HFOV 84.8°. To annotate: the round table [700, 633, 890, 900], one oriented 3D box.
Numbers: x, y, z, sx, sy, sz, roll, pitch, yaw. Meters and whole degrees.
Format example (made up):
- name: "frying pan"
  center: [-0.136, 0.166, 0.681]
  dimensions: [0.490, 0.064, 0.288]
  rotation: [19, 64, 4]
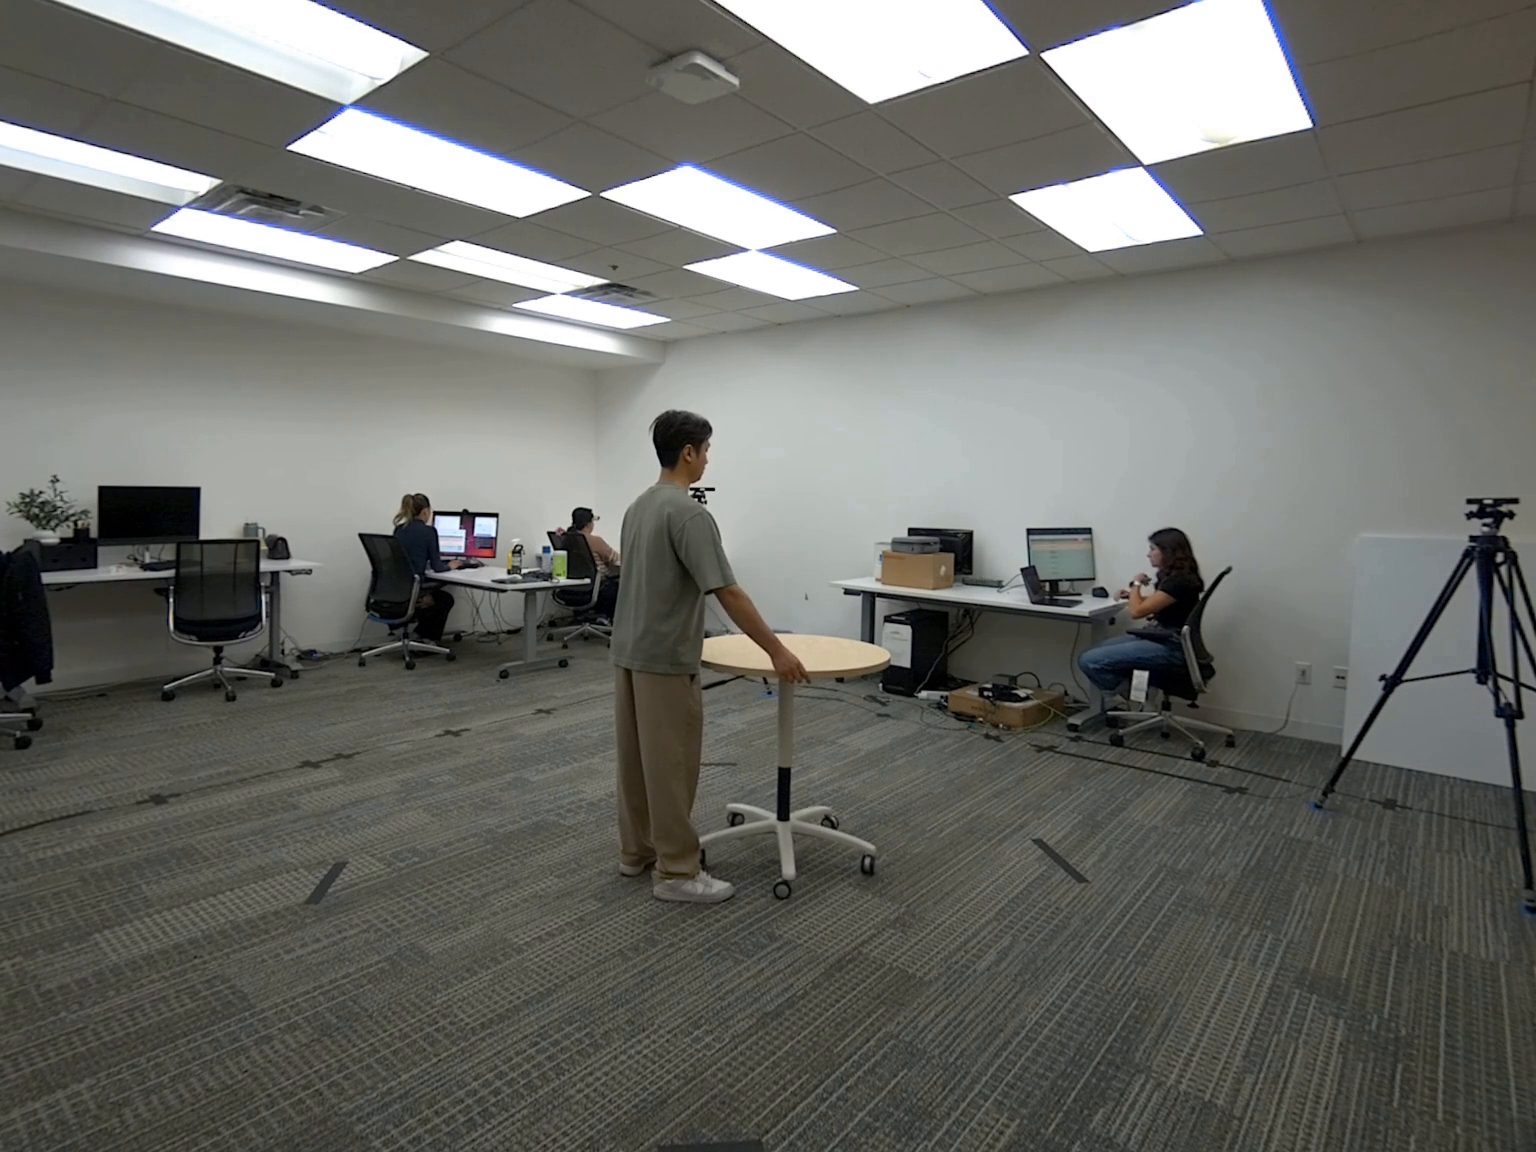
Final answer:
- name: "round table"
  center: [0.070, 0.669, 3.205]
  dimensions: [0.784, 0.784, 0.789]
  rotation: [0, 4, -2]
